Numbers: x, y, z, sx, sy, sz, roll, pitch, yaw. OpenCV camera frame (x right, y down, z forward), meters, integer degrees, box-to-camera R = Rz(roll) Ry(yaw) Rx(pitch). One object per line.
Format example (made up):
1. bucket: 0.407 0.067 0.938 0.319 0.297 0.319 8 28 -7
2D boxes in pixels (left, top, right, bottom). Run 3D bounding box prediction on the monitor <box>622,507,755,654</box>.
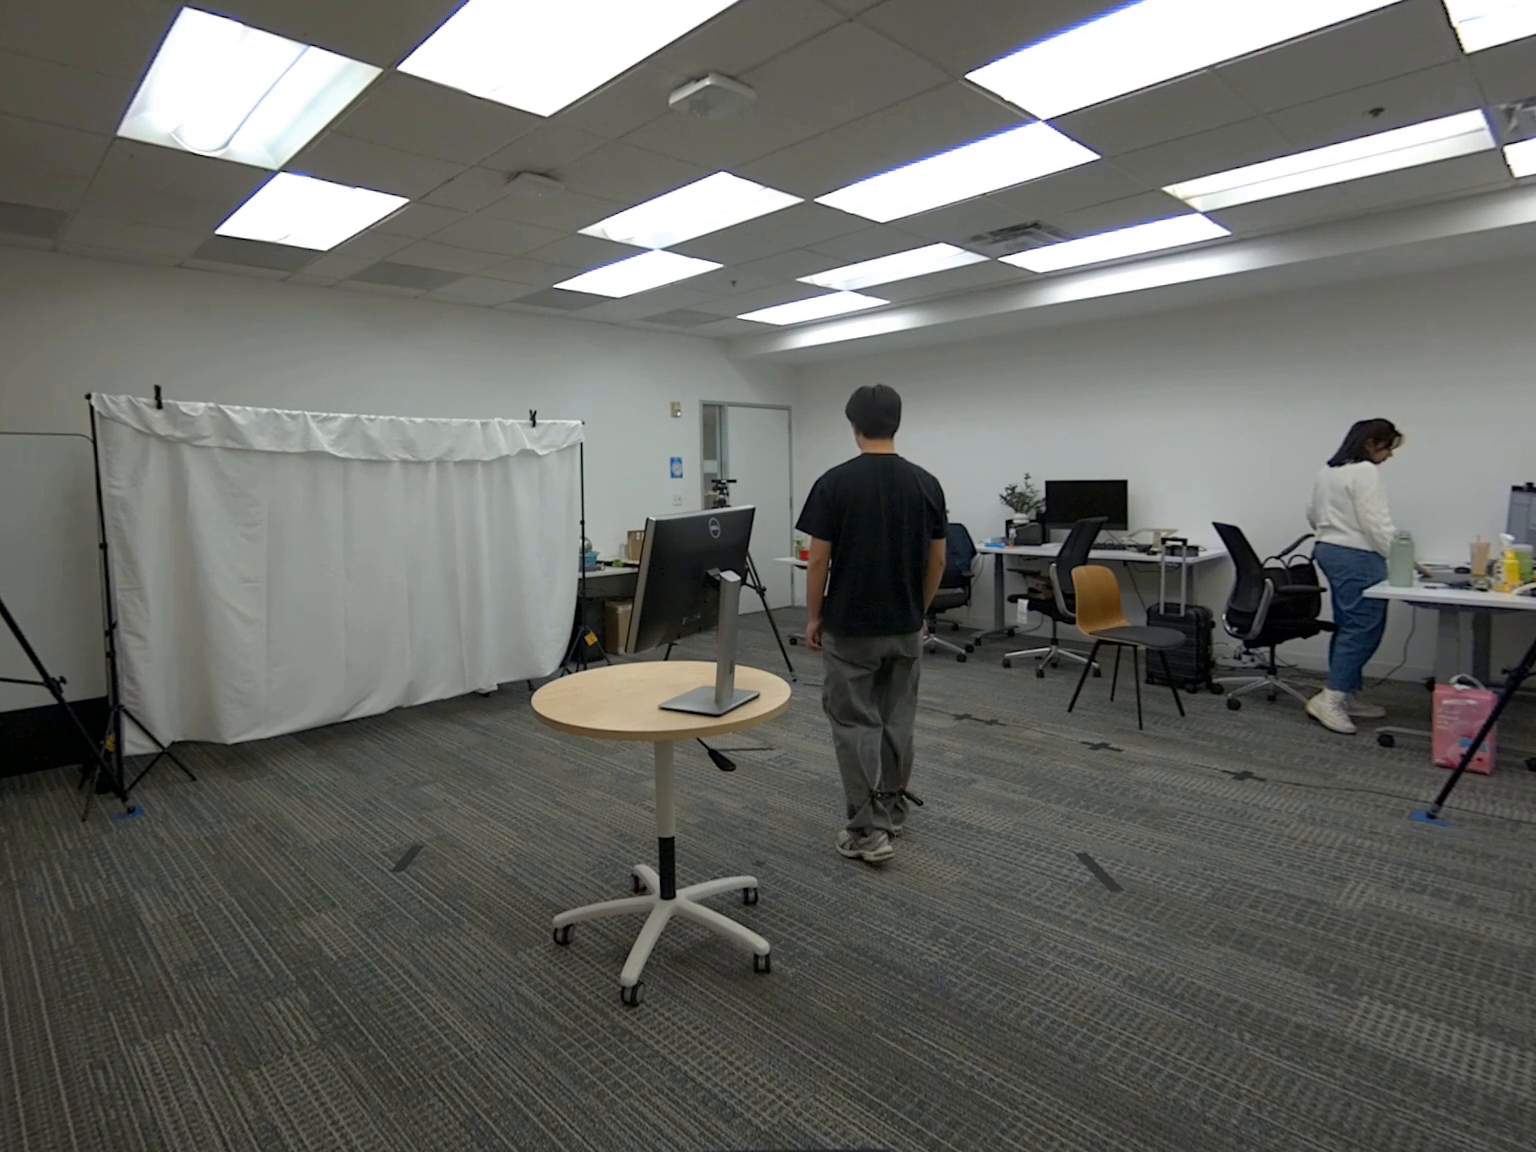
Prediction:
1. monitor: -0.171 0.099 2.391 0.228 0.564 0.550 -1 5 30
